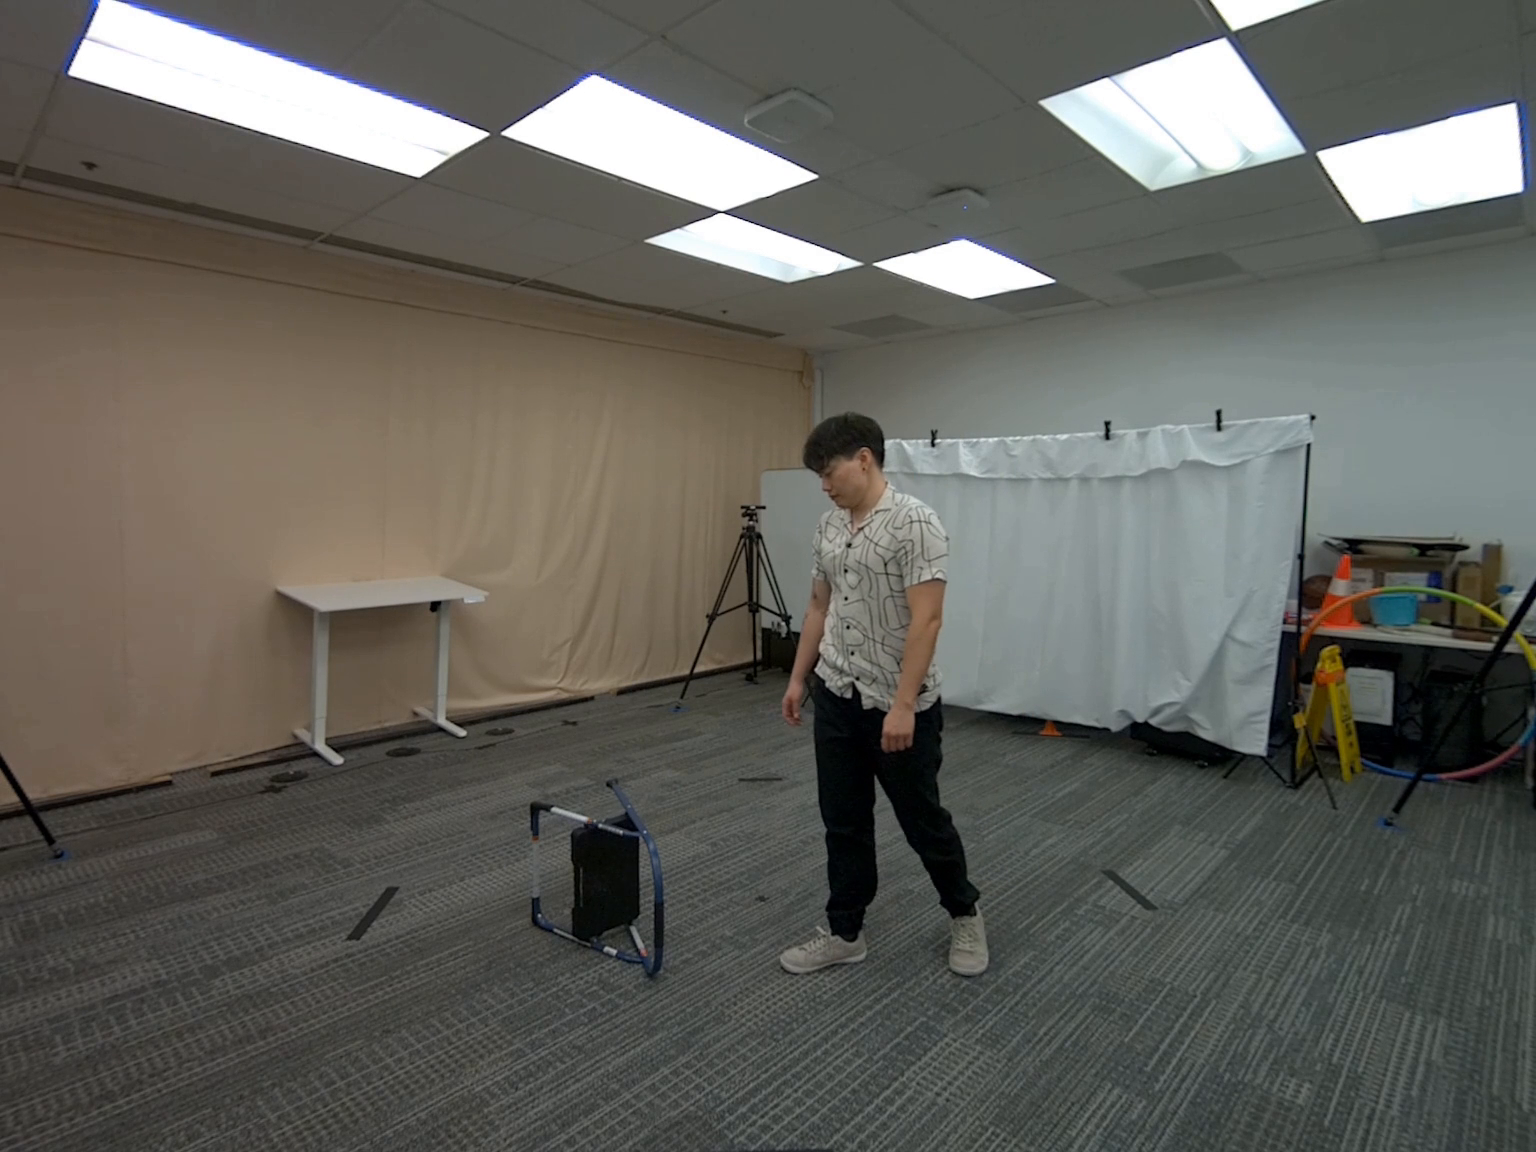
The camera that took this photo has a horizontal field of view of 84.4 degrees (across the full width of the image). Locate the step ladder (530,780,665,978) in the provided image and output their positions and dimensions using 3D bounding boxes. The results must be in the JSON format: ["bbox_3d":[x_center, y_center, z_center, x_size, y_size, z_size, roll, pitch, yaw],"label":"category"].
[{"bbox_3d":[-0.458,0.962,2.675,0.339,0.429,0.626,-5,6,-42],"label":"step ladder"}]
